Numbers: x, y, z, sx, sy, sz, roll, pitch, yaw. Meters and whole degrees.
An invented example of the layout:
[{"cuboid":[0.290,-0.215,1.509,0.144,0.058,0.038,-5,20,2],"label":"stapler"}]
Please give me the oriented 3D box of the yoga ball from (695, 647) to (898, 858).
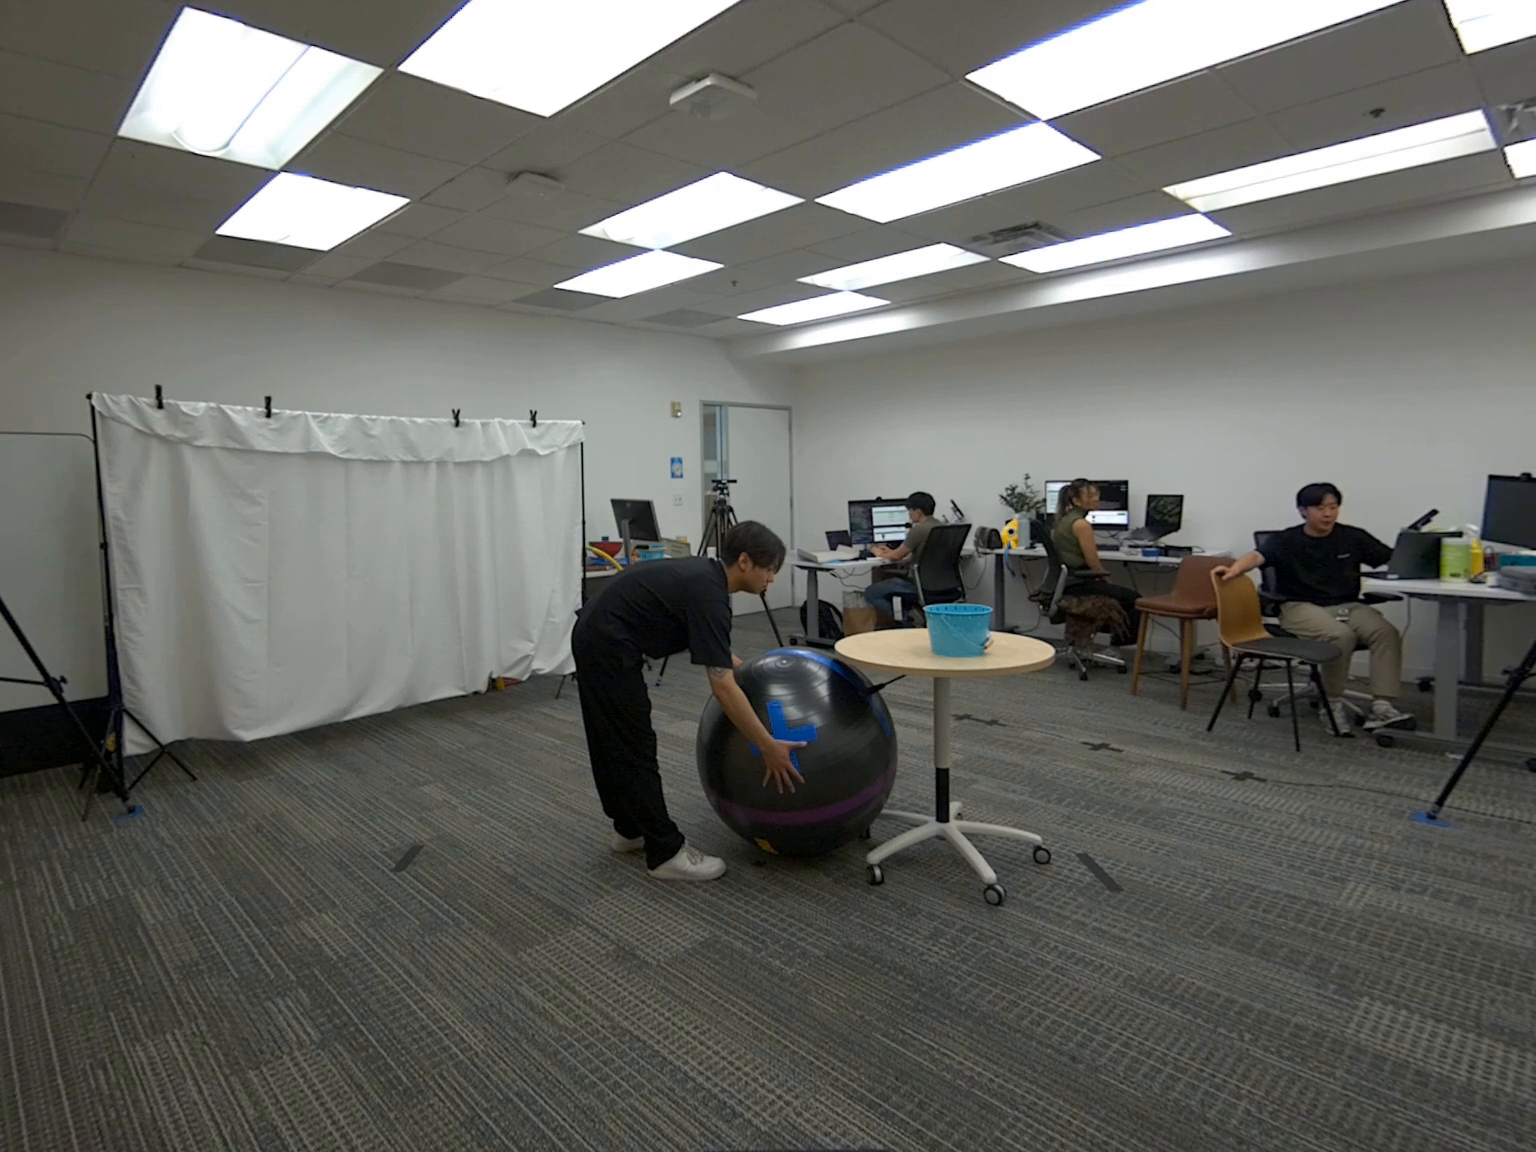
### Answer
[{"cuboid":[0.115,0.661,3.231,0.757,0.755,0.762,-1,5,-2],"label":"yoga ball"}]
